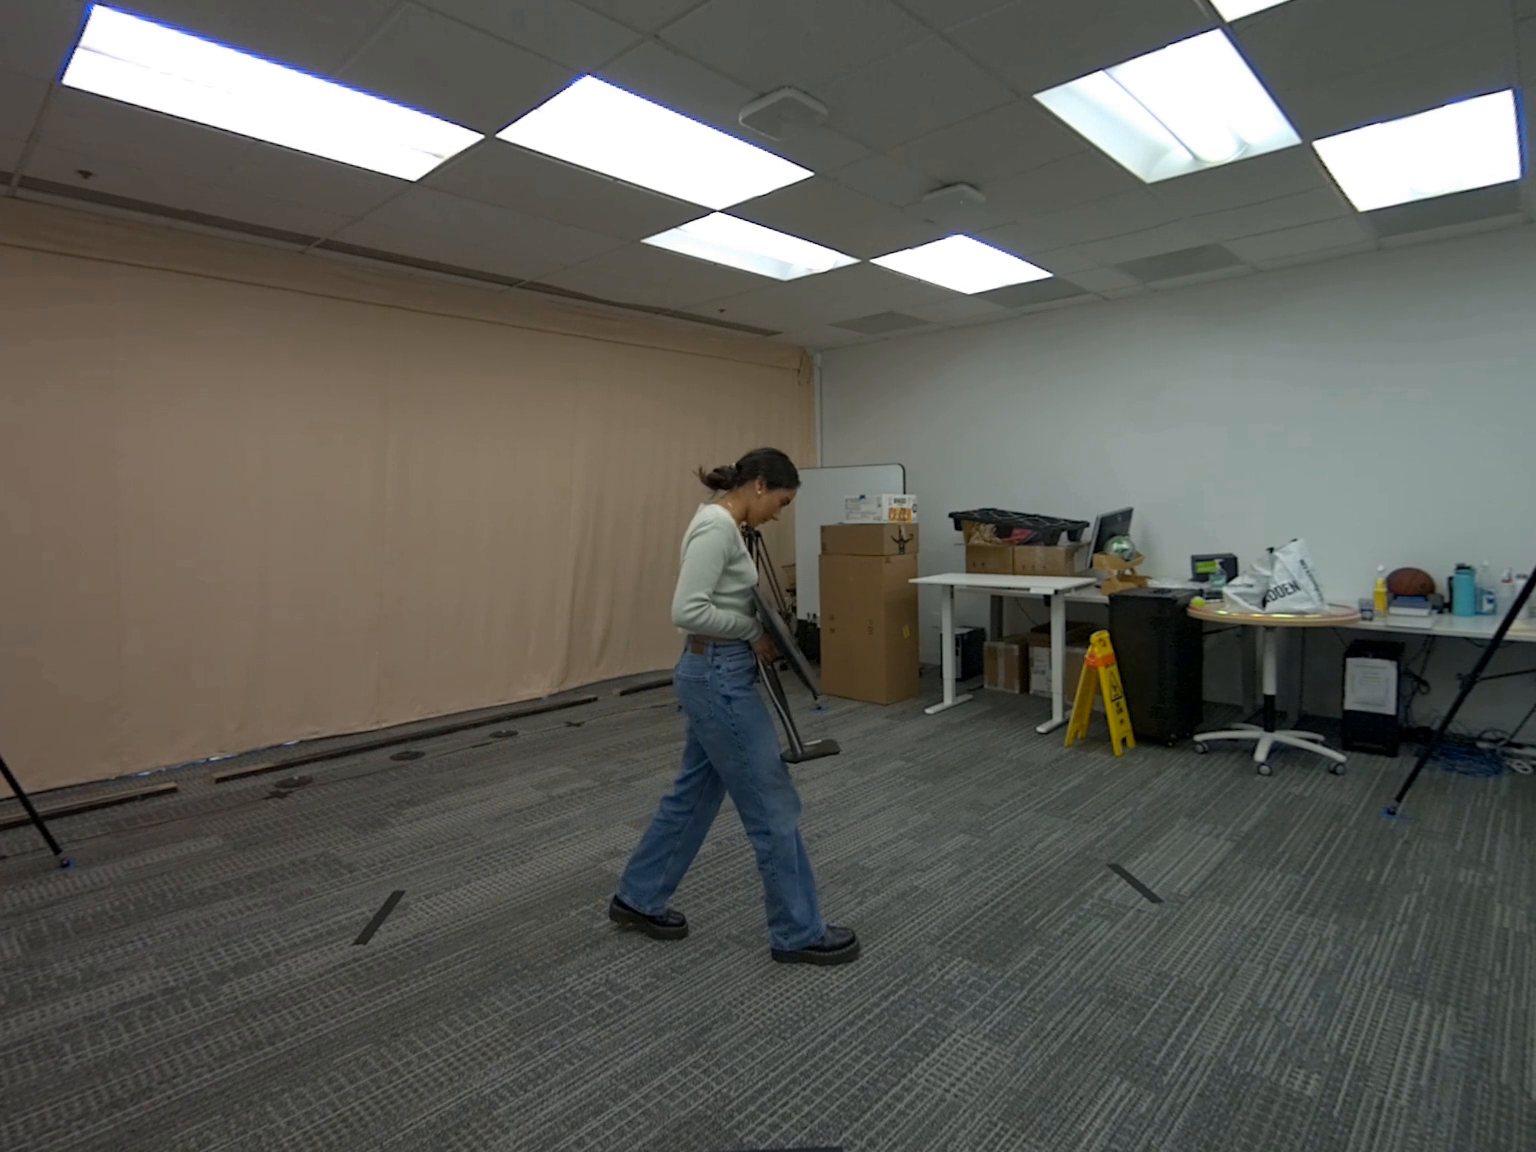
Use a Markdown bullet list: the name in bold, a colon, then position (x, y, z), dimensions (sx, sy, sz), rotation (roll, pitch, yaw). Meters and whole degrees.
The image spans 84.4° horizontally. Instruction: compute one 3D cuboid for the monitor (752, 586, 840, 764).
- **monitor**: position (0.064, 0.296, 2.548), dimensions (0.175, 0.518, 0.526), rotation (-12, -4, 3)
